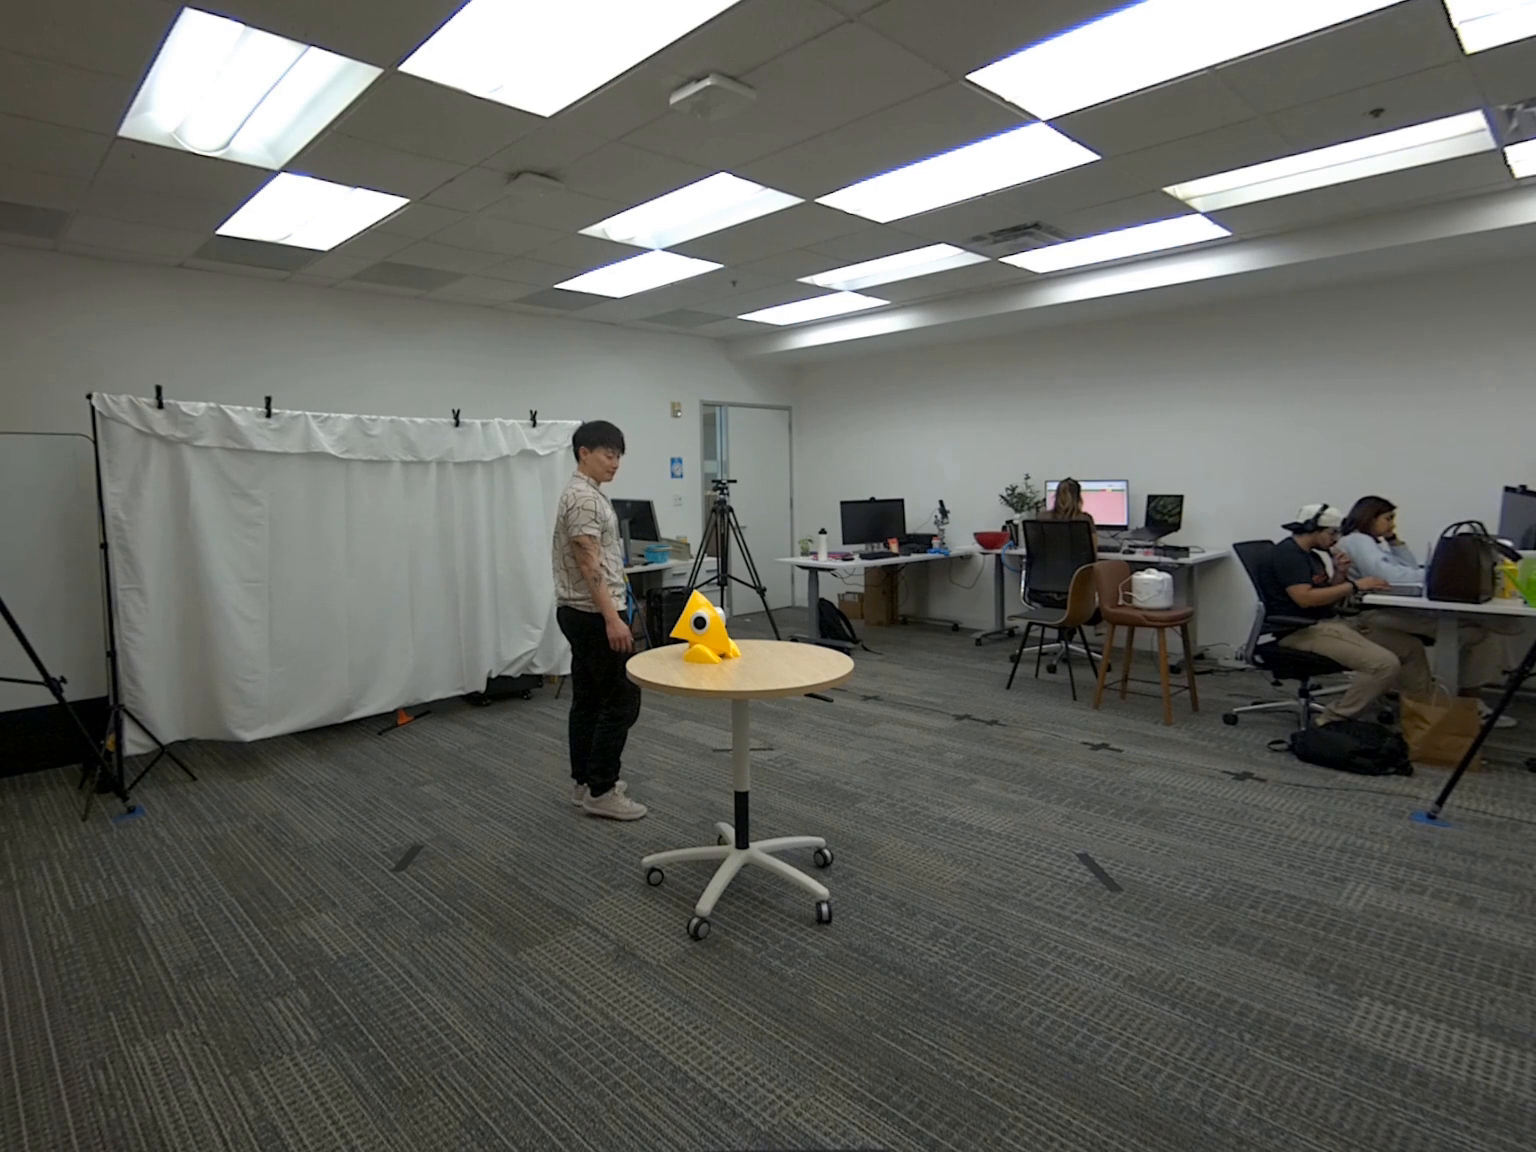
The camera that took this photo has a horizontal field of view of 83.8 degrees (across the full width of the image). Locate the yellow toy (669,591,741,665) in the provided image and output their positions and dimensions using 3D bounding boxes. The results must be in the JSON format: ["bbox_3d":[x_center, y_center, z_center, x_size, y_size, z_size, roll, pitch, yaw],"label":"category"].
[{"bbox_3d":[-0.201,0.167,2.965,0.199,0.230,0.200,3,6,36],"label":"yellow toy"}]
